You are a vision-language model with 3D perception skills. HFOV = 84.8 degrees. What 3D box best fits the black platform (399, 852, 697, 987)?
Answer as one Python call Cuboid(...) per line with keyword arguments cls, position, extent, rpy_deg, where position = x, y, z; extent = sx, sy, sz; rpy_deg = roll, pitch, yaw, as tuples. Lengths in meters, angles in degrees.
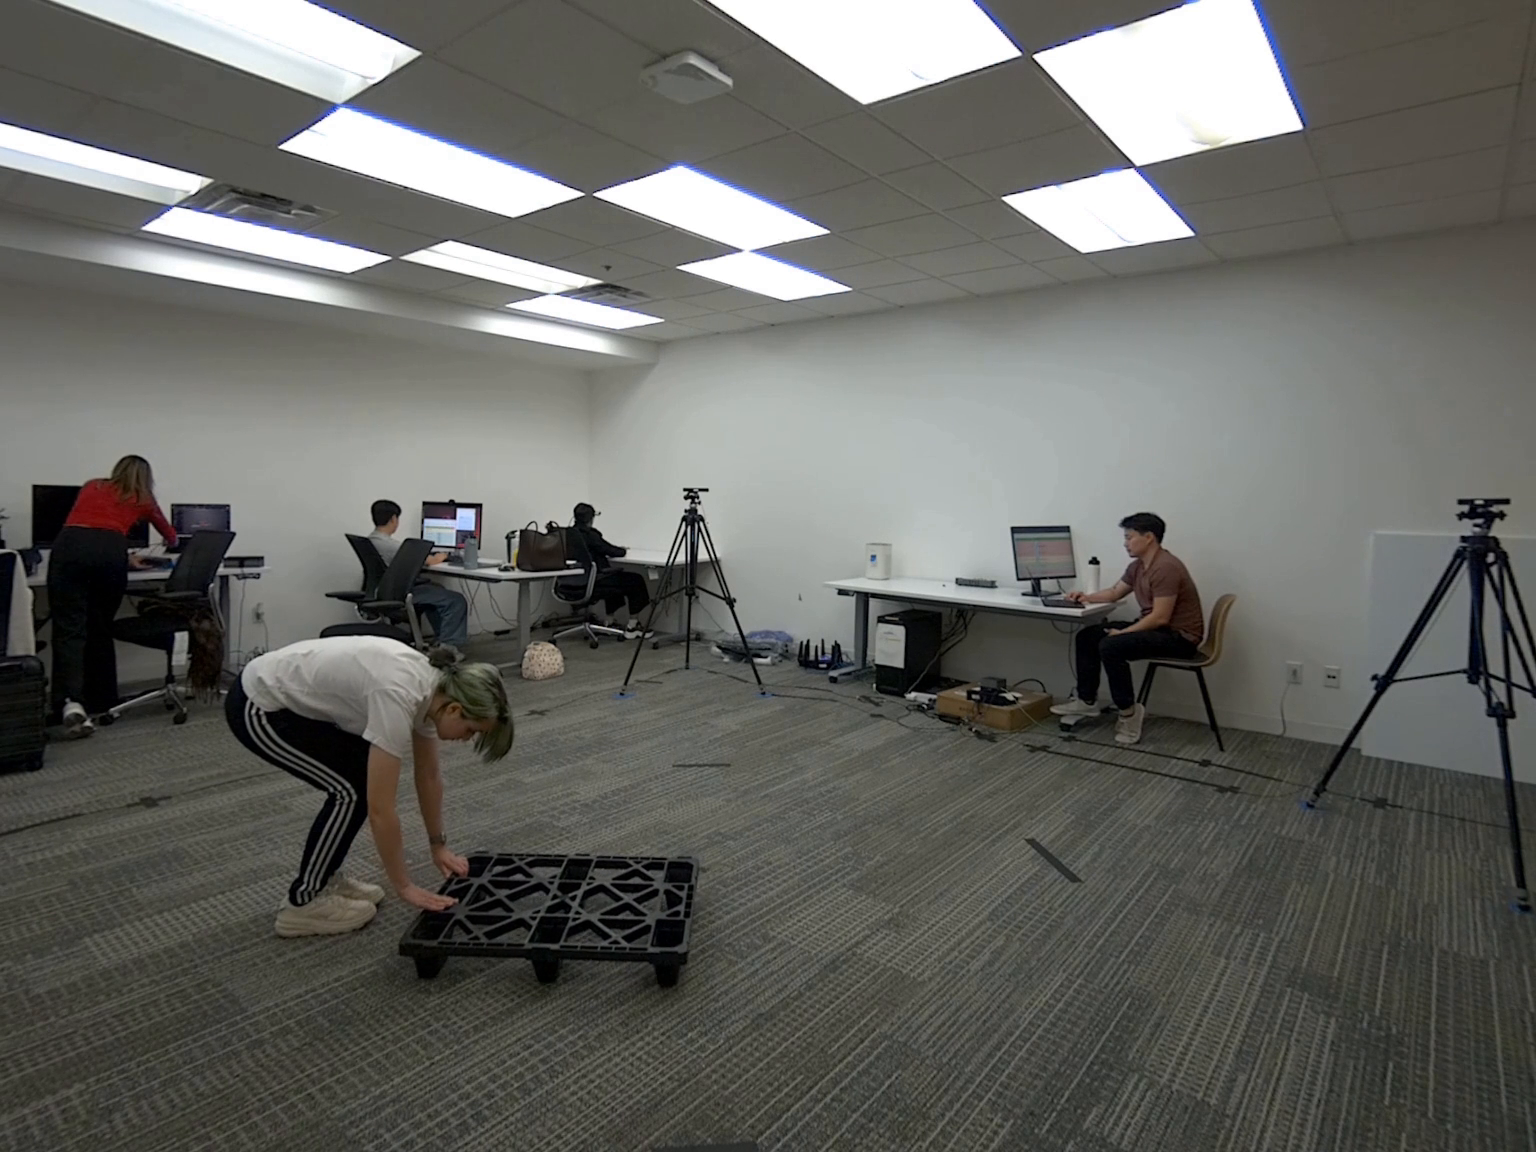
Cuboid(cls="black platform", position=(-0.635, 1.046, 2.607), extent=(0.807, 0.142, 0.607), rpy_deg=(0, 7, 1))
